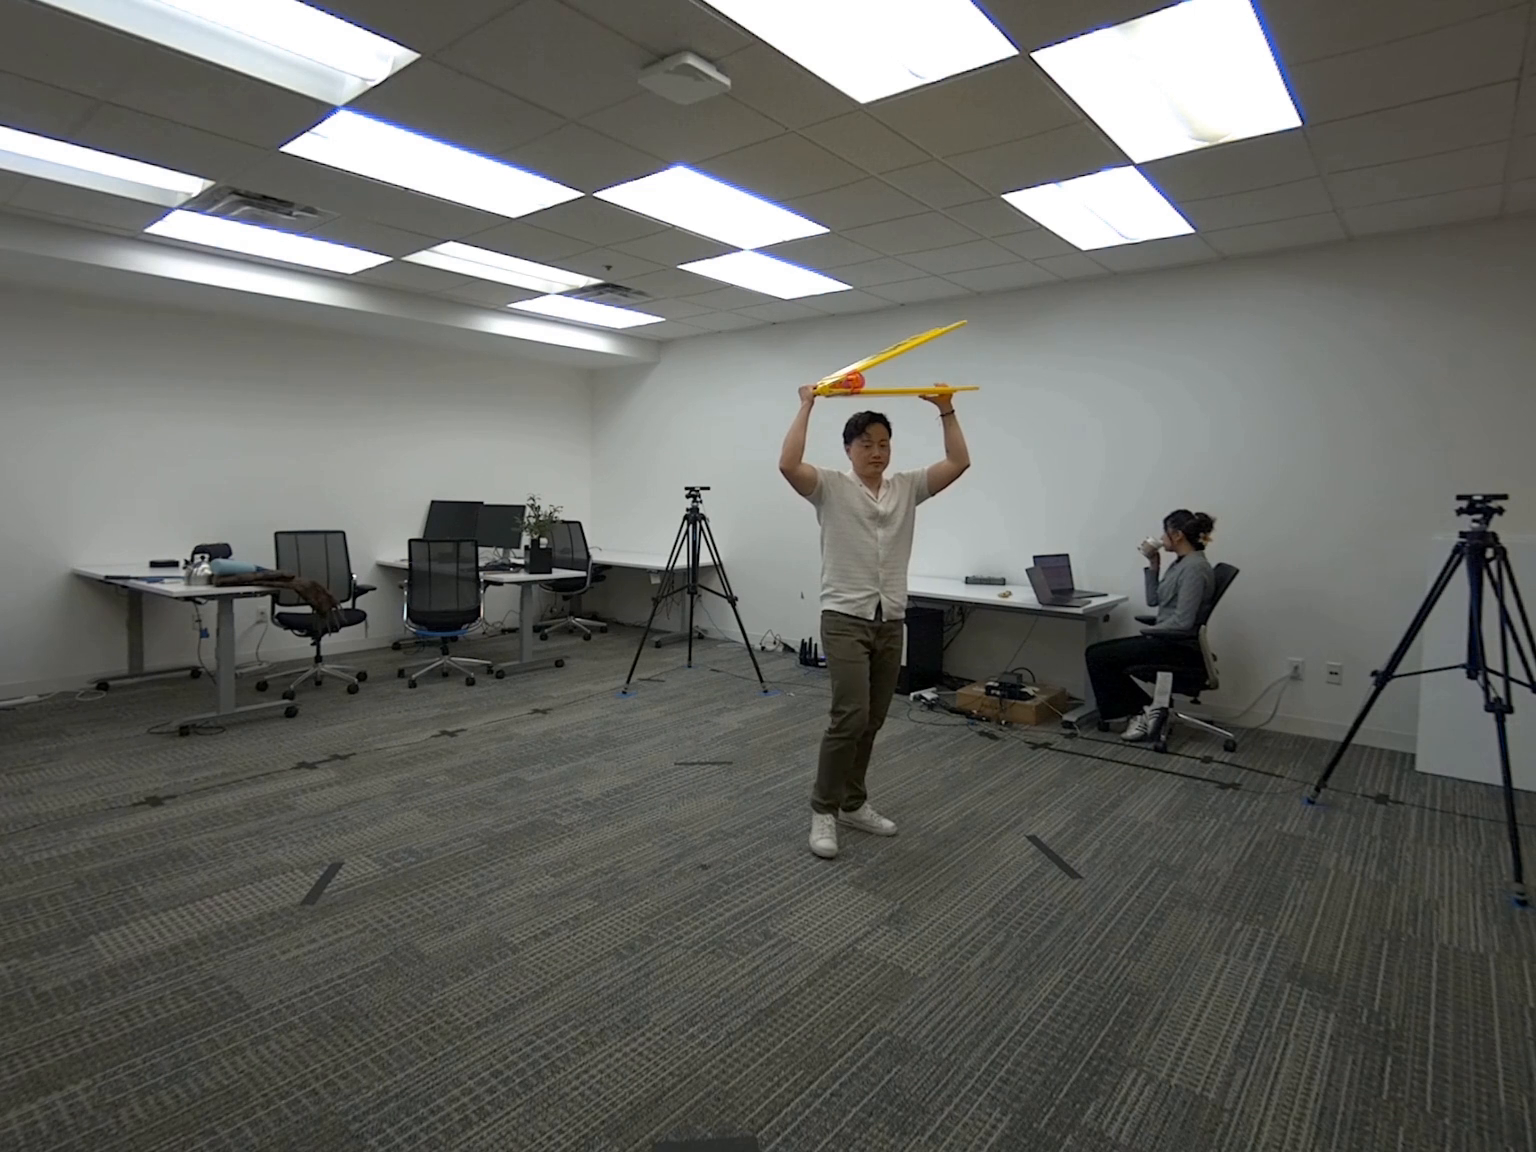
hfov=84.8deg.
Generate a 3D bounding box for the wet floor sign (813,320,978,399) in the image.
[{"bbox_3d":[0.448,-0.791,3.333,0.639,0.287,0.288,-15,10,-13],"label":"wet floor sign"}]
